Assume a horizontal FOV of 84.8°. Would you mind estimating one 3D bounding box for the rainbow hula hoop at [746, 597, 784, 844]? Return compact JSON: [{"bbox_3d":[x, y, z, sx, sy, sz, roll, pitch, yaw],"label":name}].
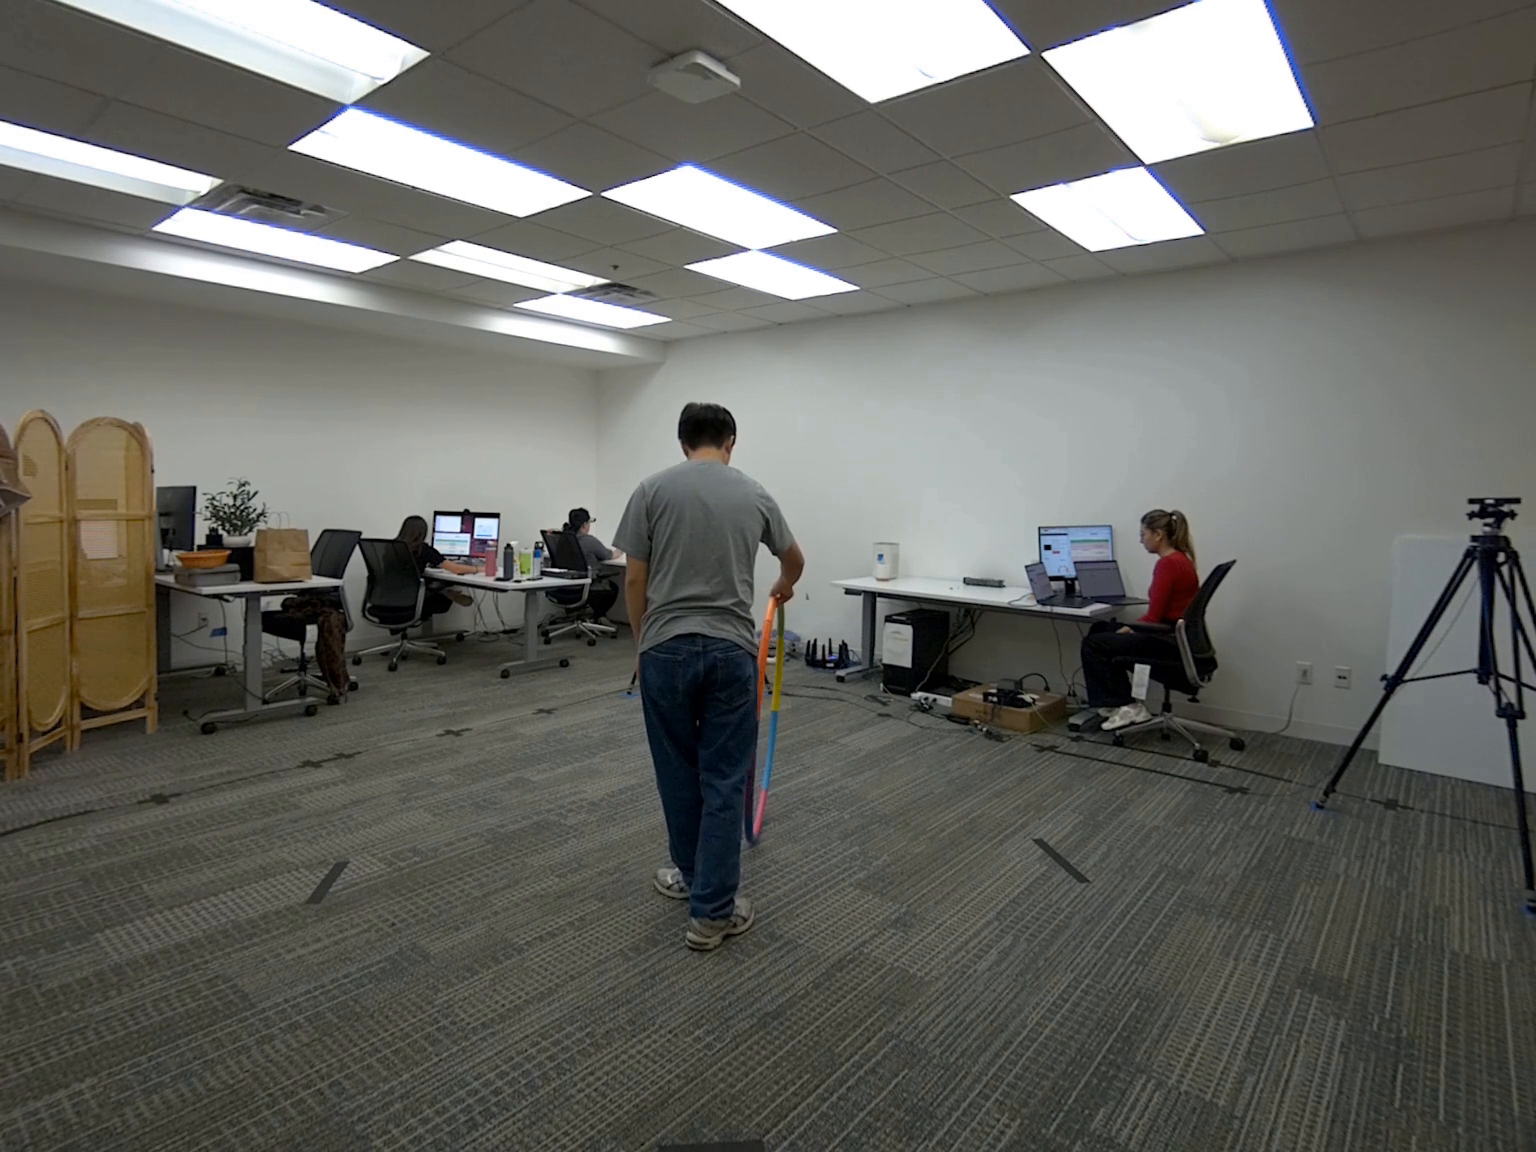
[{"bbox_3d":[-0.023,0.552,3.407,0.036,0.975,0.973,5,5,6],"label":"rainbow hula hoop"}]
